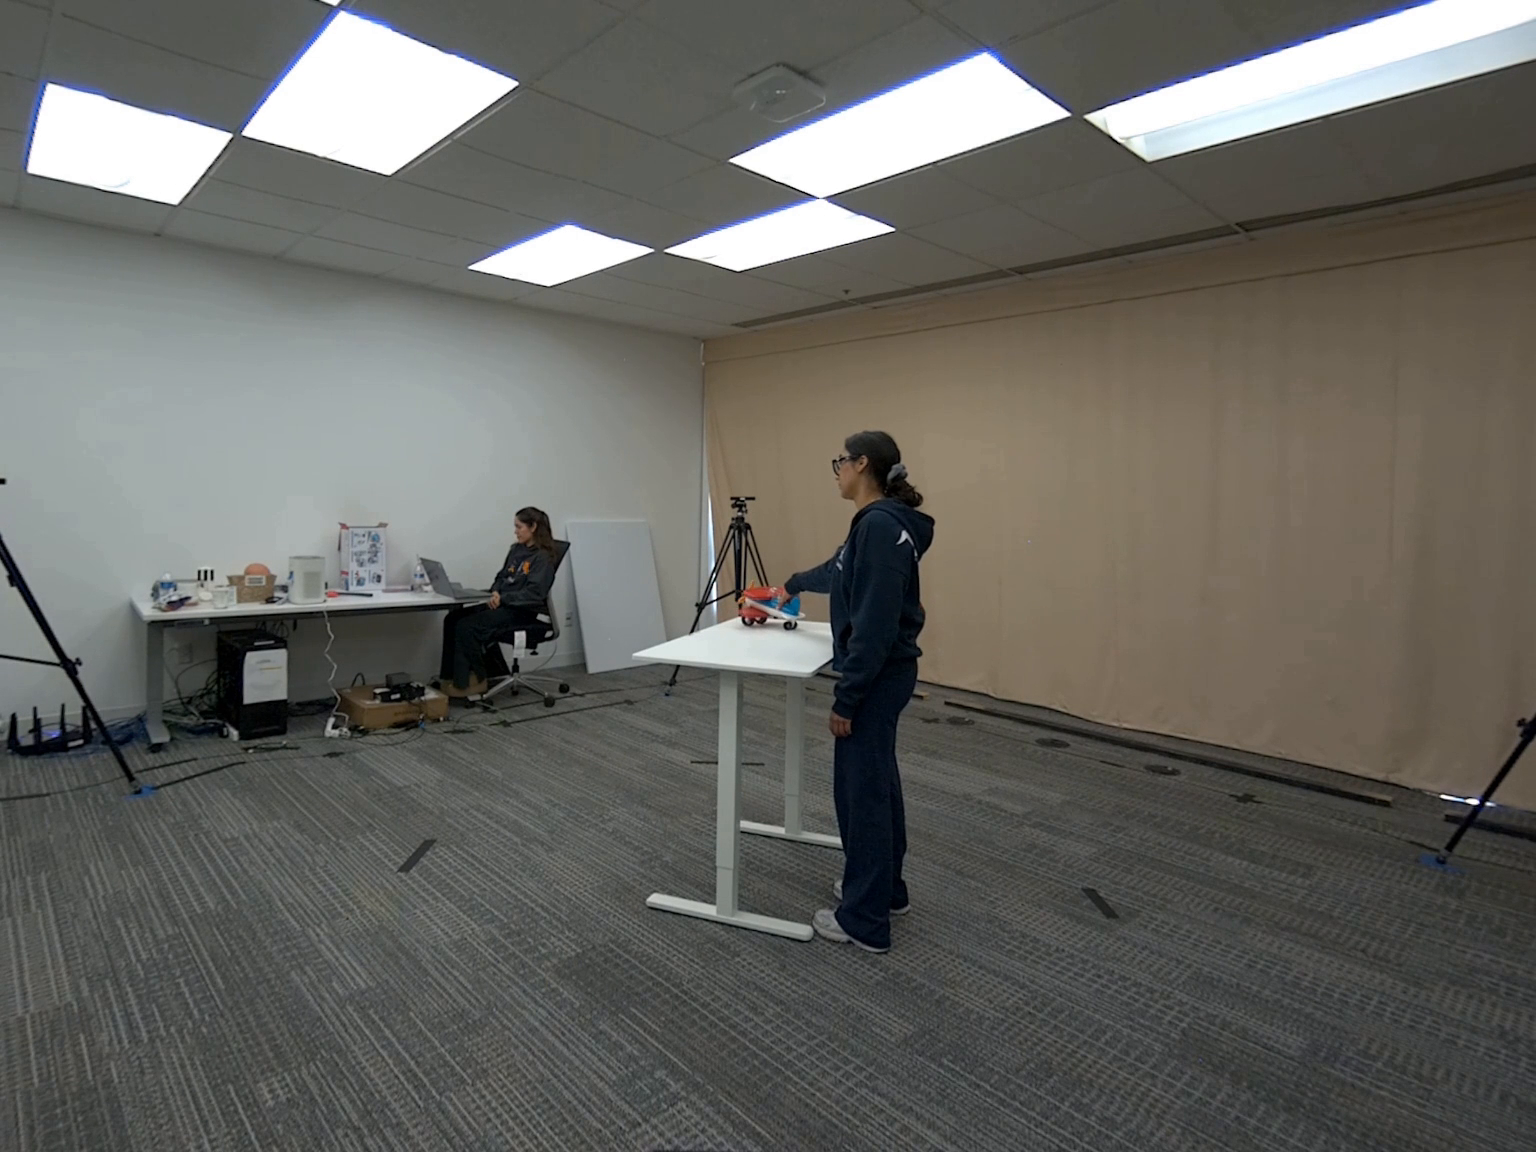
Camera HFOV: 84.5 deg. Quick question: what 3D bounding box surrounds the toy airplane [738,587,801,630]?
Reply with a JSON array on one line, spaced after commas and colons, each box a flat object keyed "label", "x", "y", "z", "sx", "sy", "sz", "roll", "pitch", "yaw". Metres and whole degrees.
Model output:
[{"label": "toy airplane", "x": 0.015, "y": 0.127, "z": 3.389, "sx": 0.261, "sy": 0.156, "sz": 0.250, "roll": 1, "pitch": 5, "yaw": 9}]
